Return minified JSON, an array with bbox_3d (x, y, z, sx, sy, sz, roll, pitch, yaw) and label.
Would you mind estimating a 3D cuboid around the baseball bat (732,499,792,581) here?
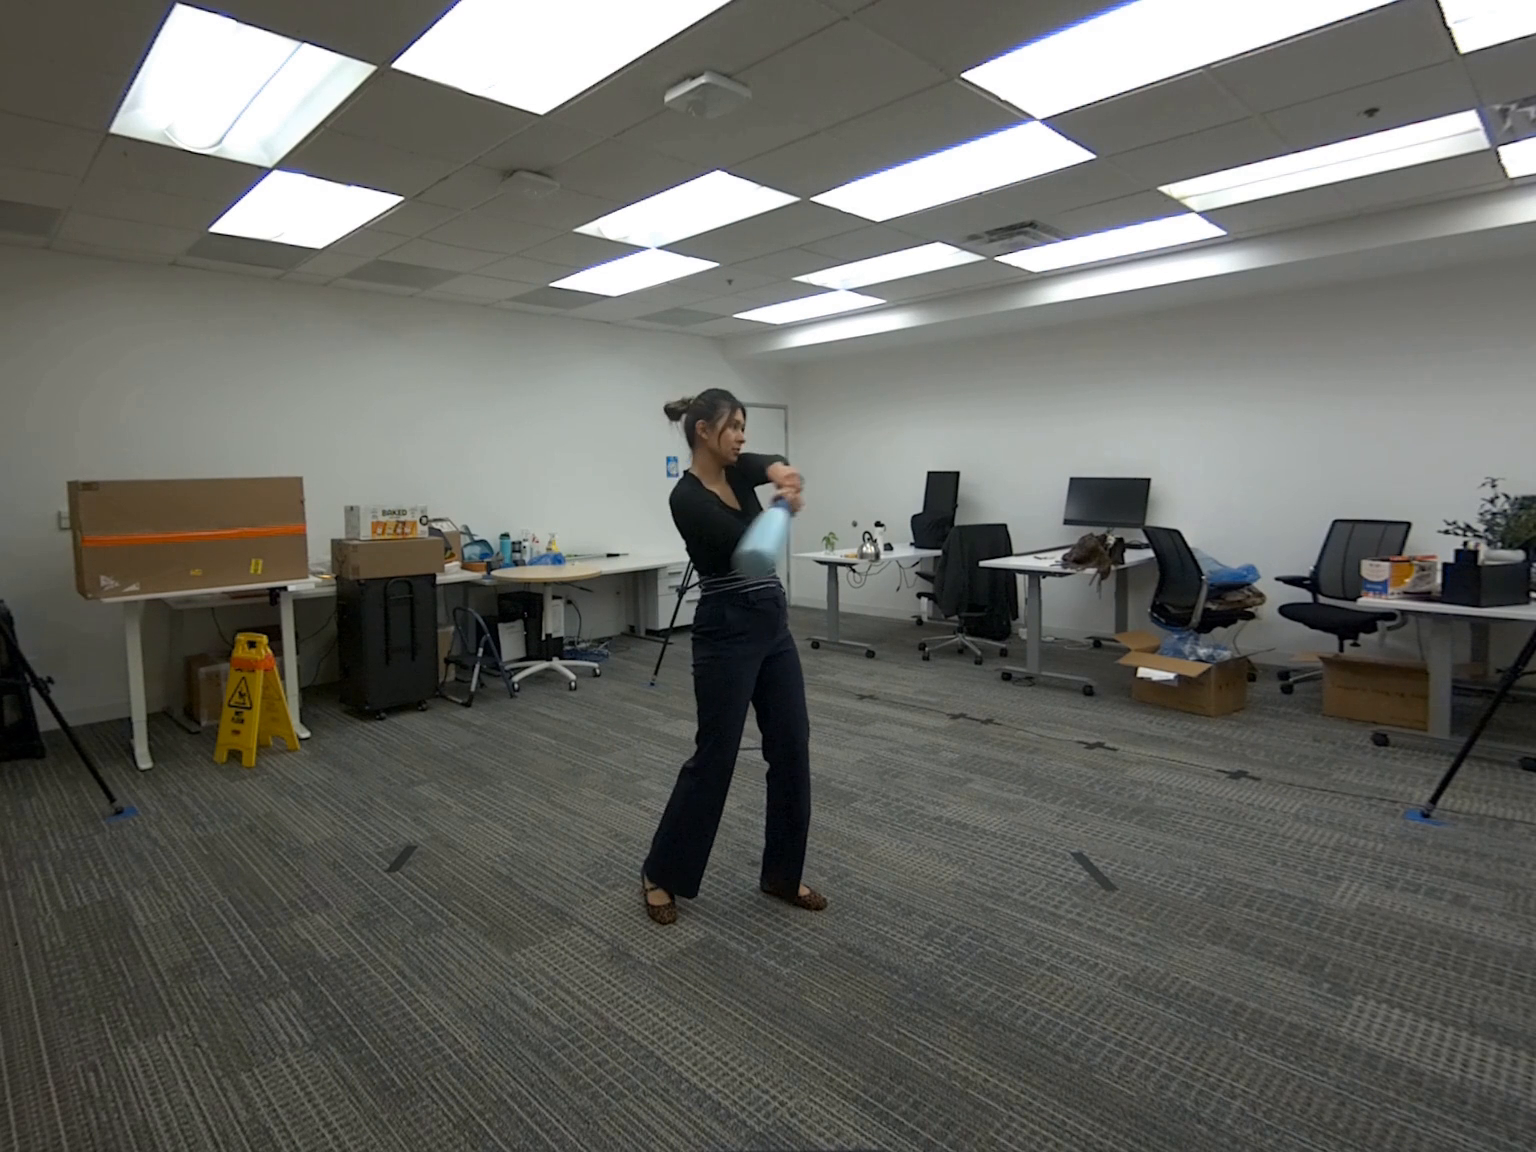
[{"bbox_3d":[0.014,-0.157,2.155,0.090,0.087,0.548,0,26,12],"label":"baseball bat"}]
